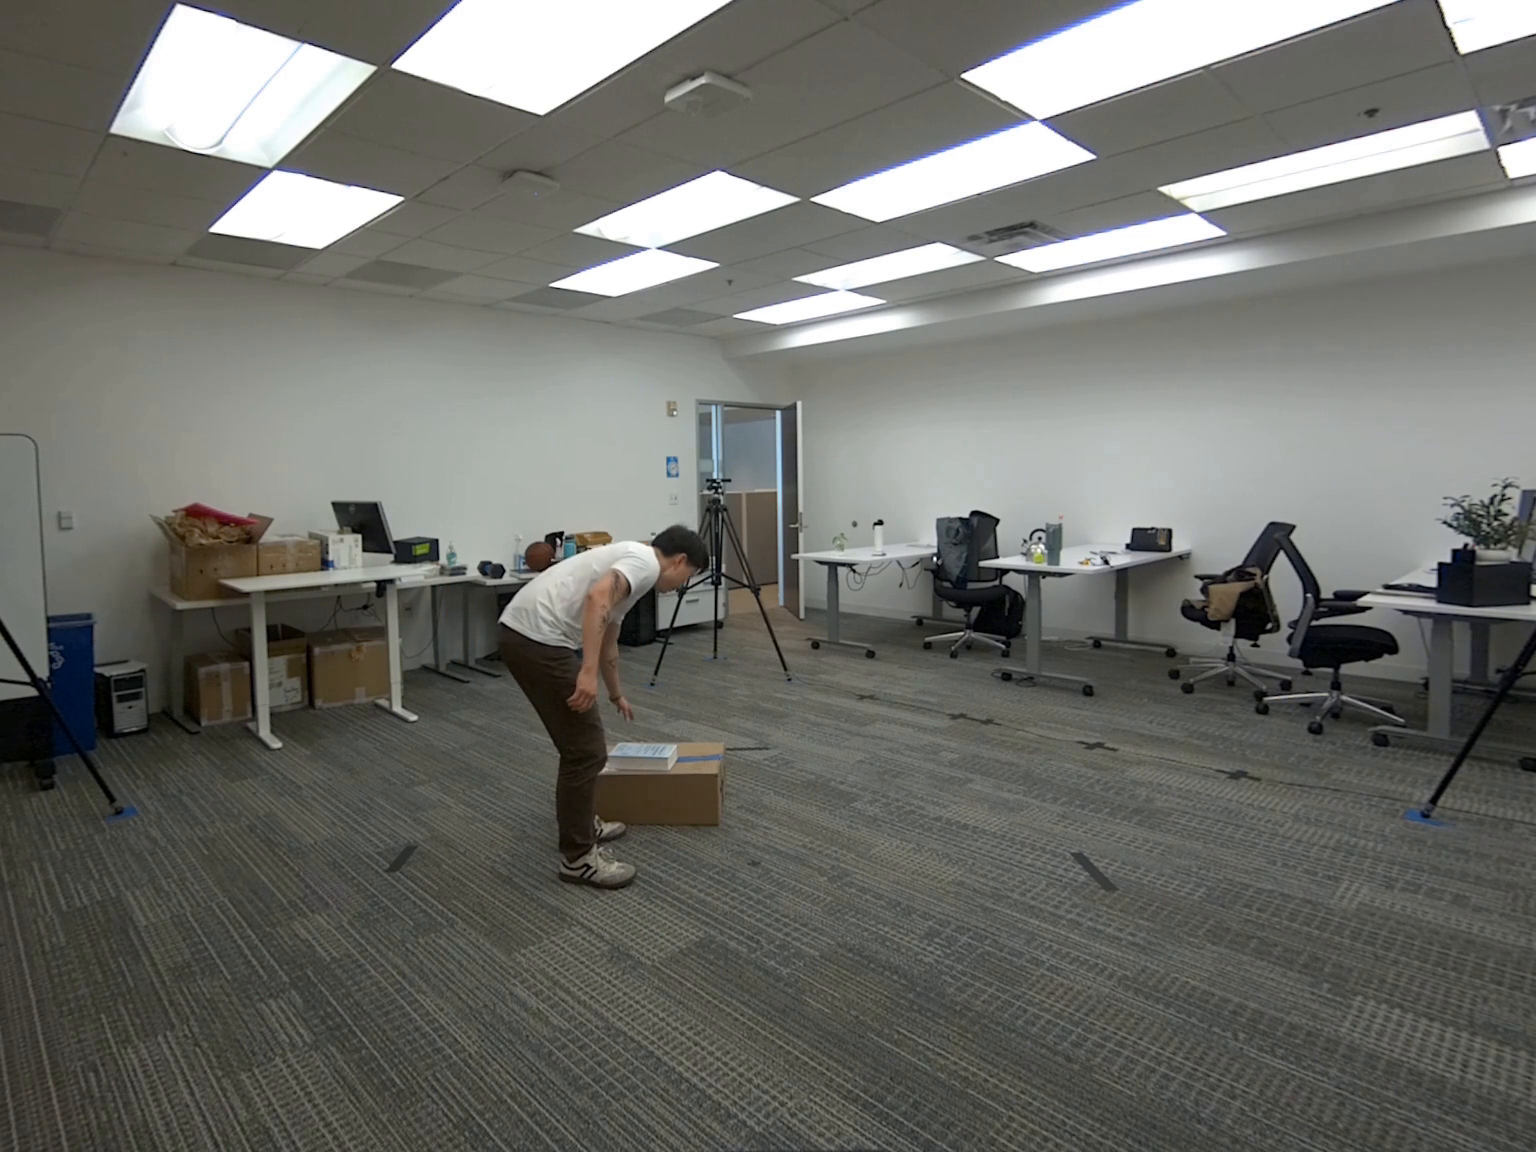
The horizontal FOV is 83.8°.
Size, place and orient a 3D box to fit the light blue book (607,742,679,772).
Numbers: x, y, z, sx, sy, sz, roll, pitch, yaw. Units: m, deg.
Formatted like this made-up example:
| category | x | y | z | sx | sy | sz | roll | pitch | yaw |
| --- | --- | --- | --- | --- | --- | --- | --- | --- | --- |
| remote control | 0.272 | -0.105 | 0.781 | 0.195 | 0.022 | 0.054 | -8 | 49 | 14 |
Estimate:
| category | x | y | z | sx | sy | sz | roll | pitch | yaw |
| --- | --- | --- | --- | --- | --- | --- | --- | --- | --- |
| light blue book | -0.526 | 0.763 | 3.616 | 0.263 | 0.059 | 0.190 | 0 | 5 | 8 |
